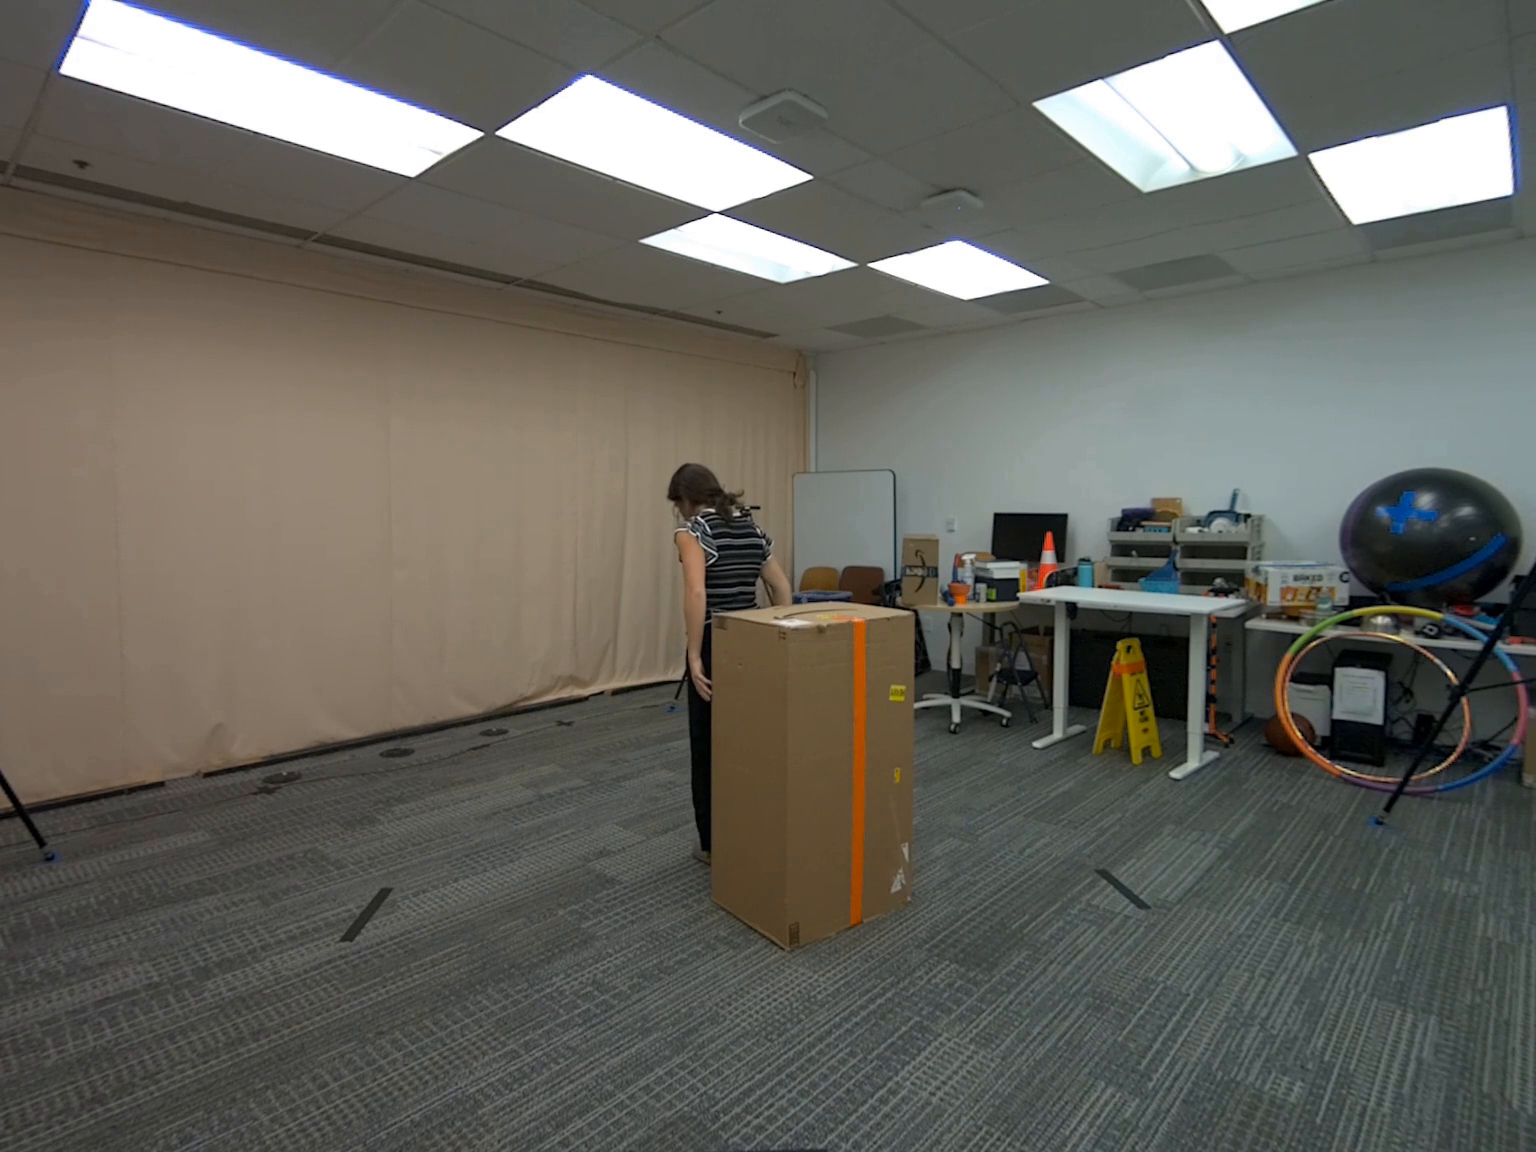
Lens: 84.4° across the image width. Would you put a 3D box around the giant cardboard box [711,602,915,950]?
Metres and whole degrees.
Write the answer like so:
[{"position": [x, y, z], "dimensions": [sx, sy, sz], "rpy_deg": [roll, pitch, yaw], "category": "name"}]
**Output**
[{"position": [0.161, 0.638, 2.930], "dimensions": [0.560, 1.024, 0.440], "rpy_deg": [-3, 4, -38], "category": "giant cardboard box"}]
